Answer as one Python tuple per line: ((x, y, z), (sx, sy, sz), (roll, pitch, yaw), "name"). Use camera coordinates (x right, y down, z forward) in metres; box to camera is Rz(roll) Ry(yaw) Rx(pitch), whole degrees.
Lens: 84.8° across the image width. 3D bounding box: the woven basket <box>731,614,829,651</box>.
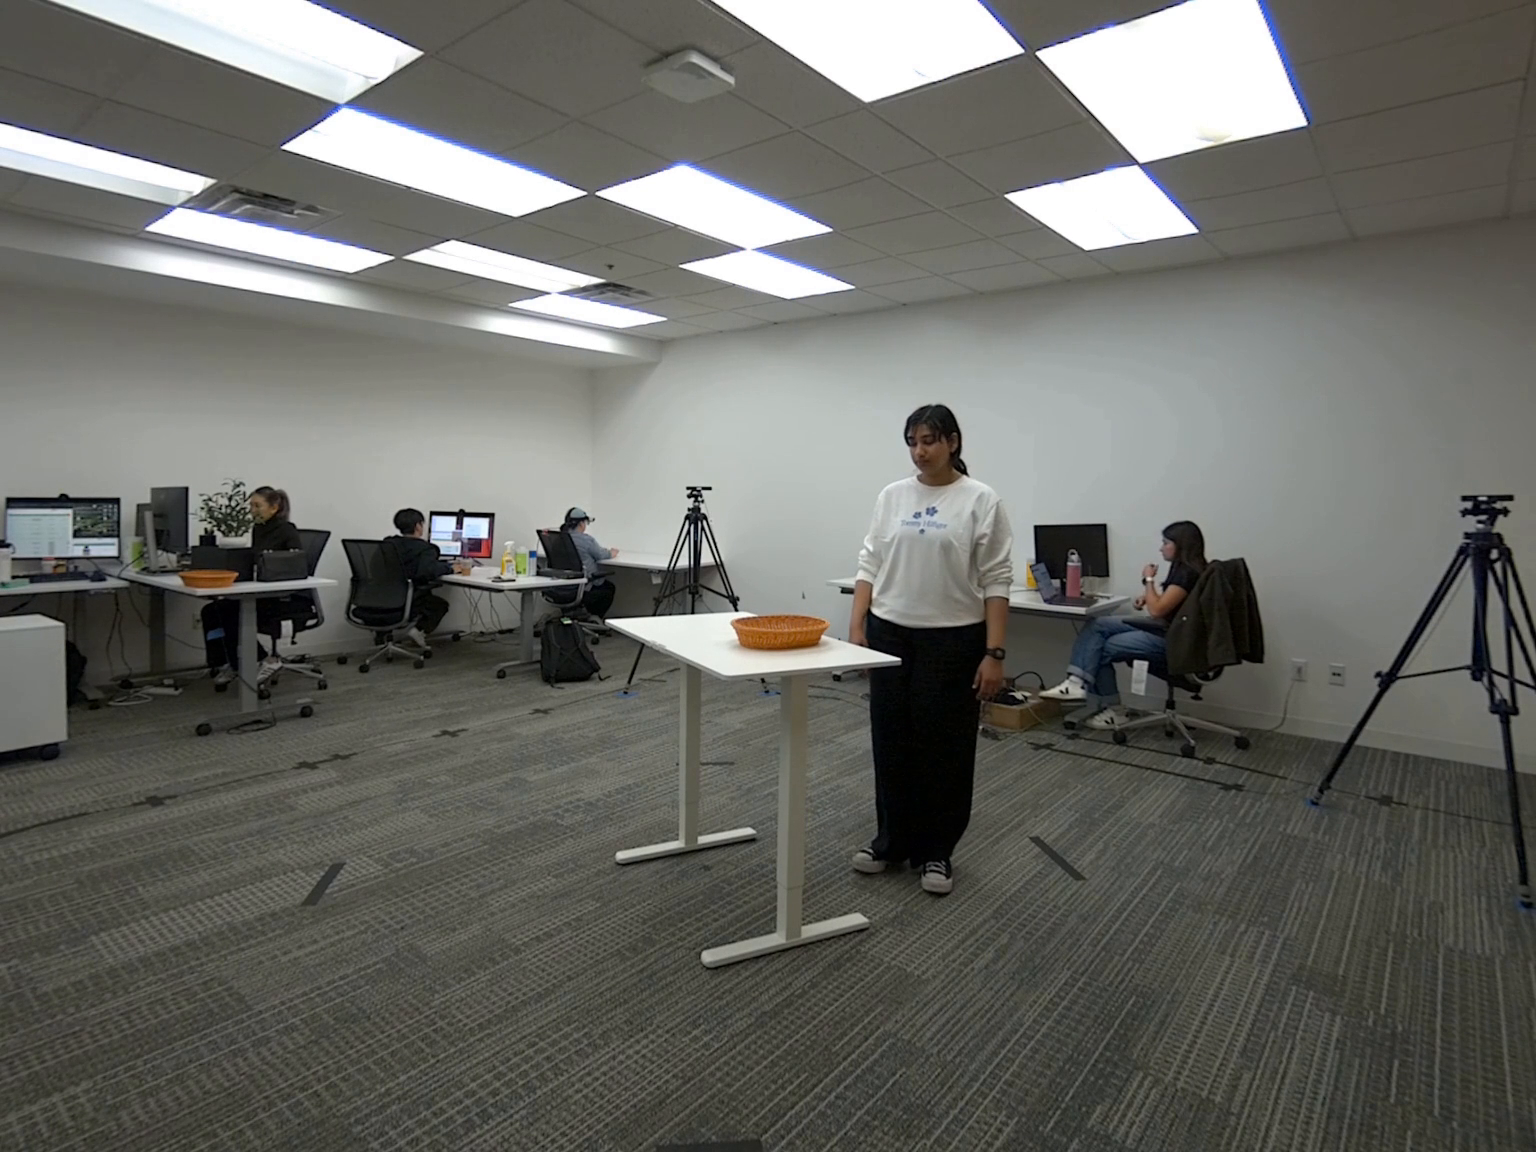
((0.048, 0.188, 2.795), (0.340, 0.073, 0.261), (-4, 8, -38), "woven basket")
